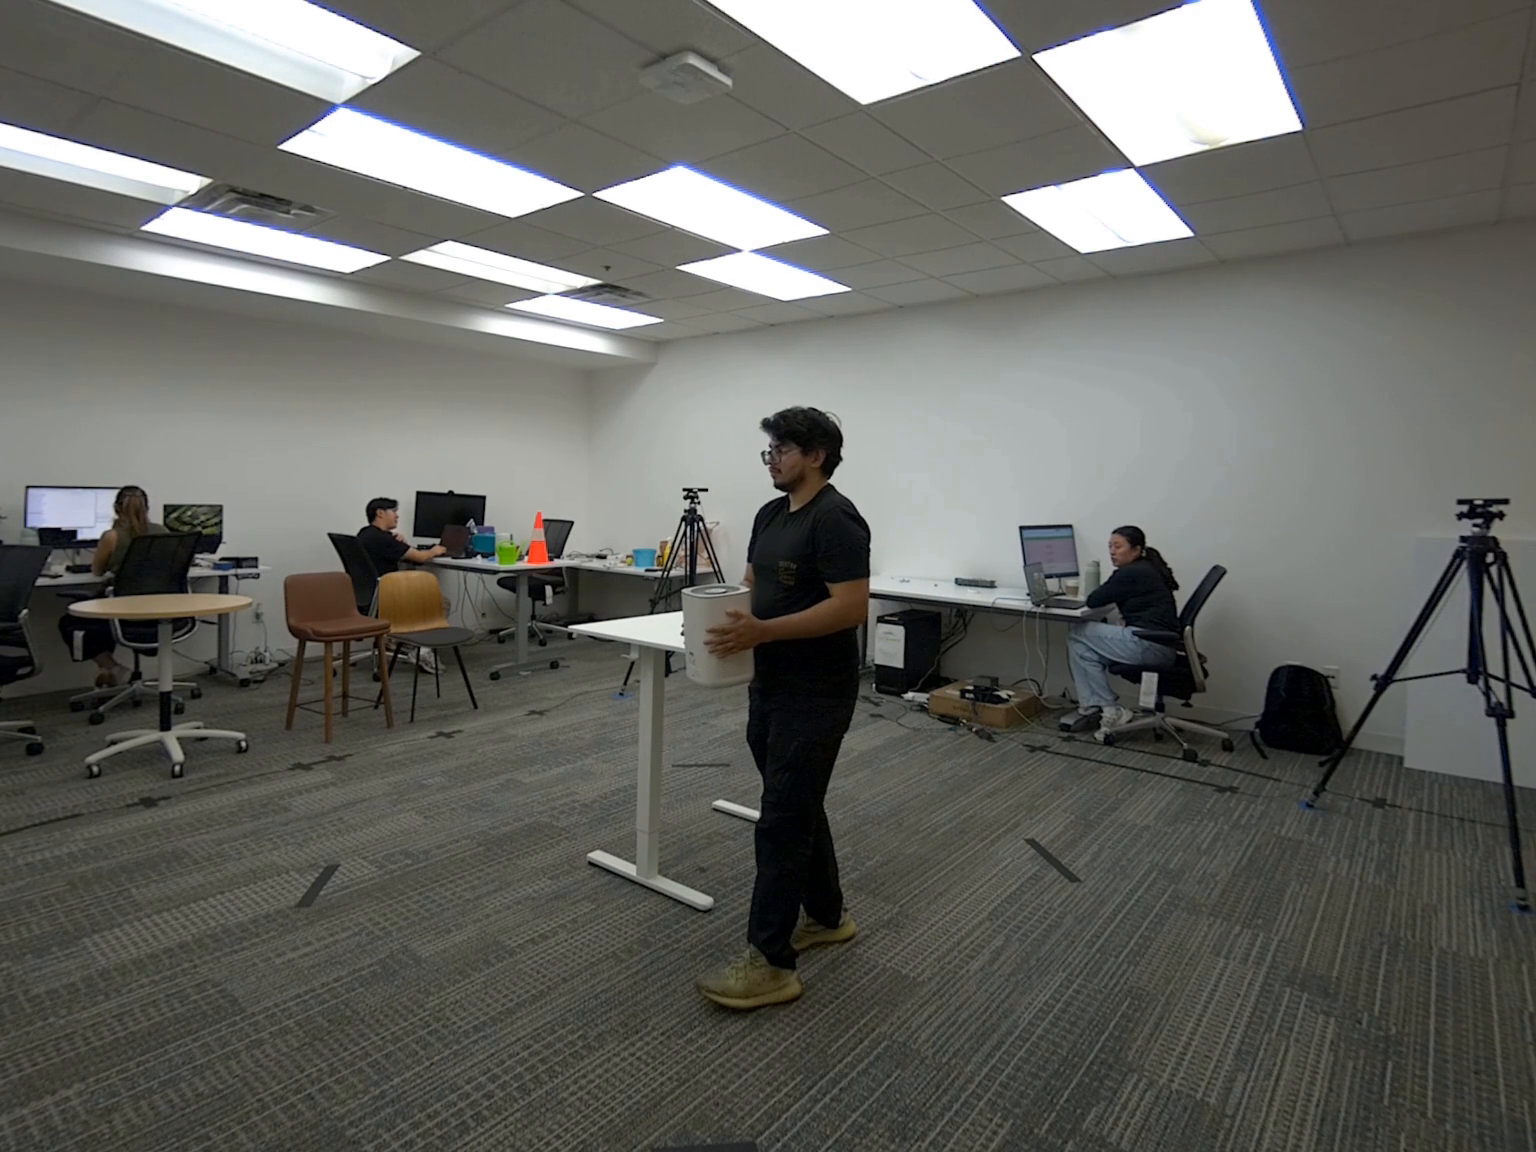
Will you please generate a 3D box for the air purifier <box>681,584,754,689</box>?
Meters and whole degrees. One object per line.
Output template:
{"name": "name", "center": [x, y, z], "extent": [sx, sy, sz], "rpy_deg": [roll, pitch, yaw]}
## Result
{"name": "air purifier", "center": [-0.147, 0.163, 2.396], "extent": [0.167, 0.263, 0.176], "rpy_deg": [-7, 8, -30]}
